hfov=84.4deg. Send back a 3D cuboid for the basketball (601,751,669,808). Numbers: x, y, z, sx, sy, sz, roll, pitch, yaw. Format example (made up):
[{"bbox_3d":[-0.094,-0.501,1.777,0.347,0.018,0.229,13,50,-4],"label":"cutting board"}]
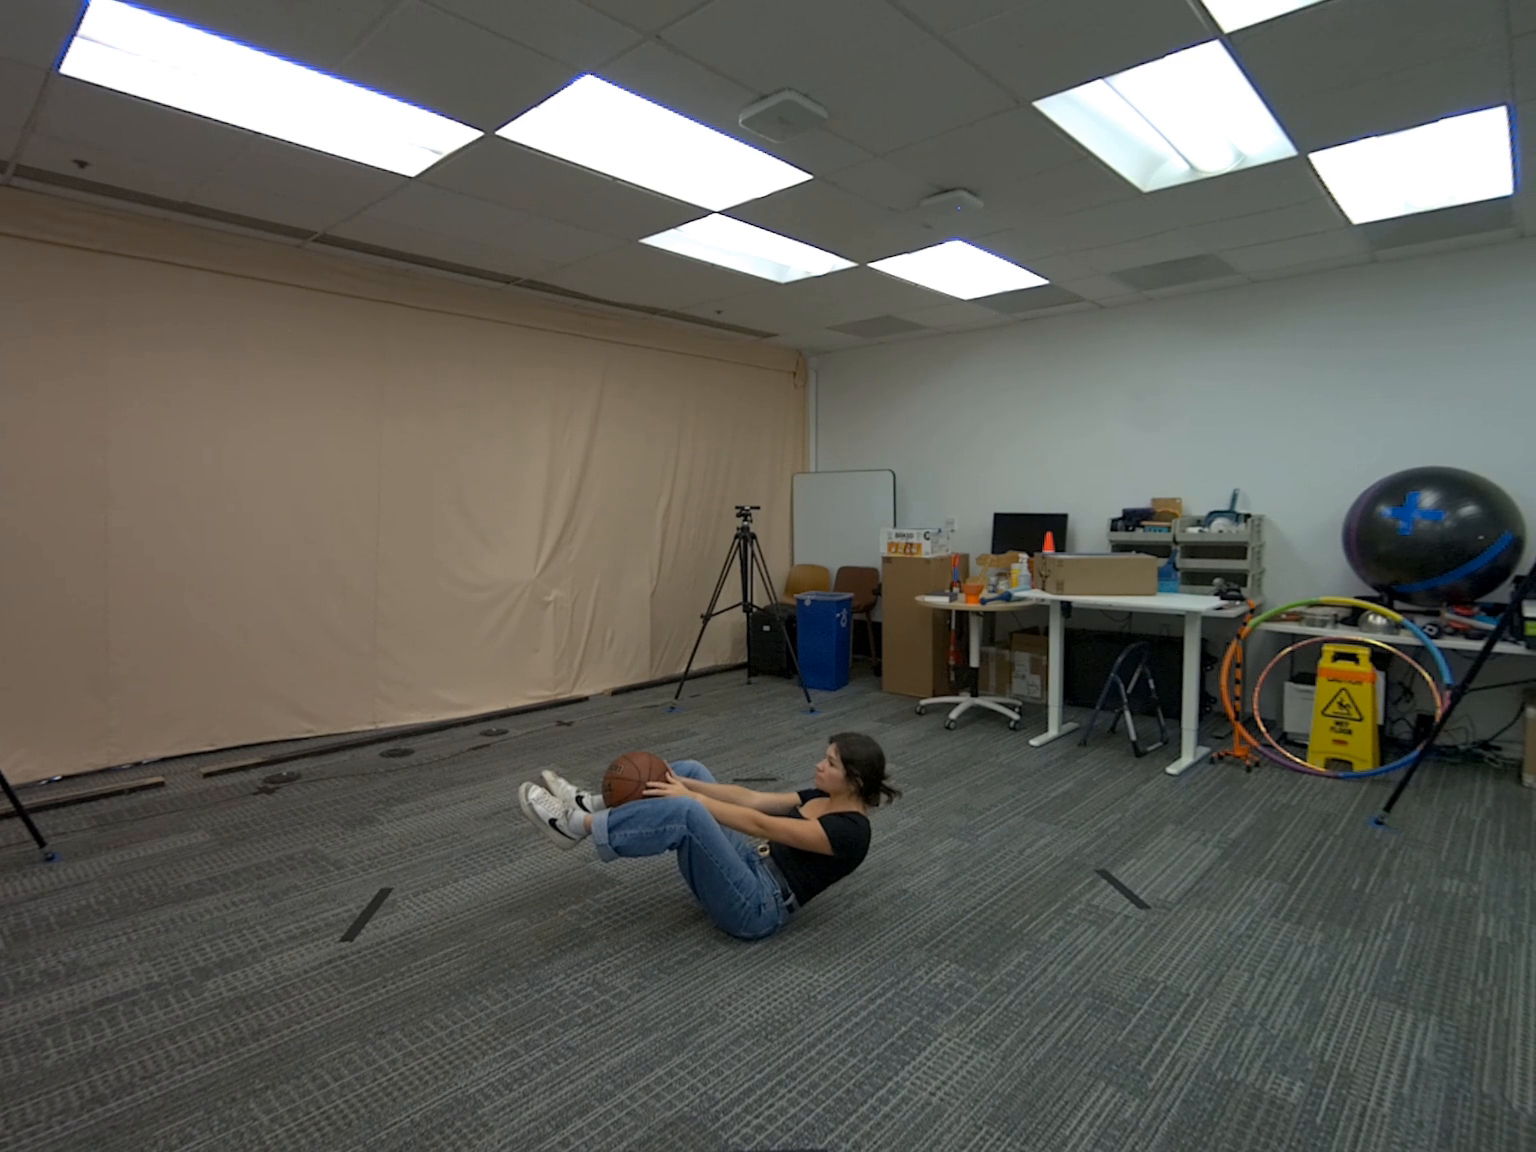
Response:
[{"bbox_3d":[-0.429,0.703,2.804,0.236,0.235,0.237,0,4,-2],"label":"basketball"}]
